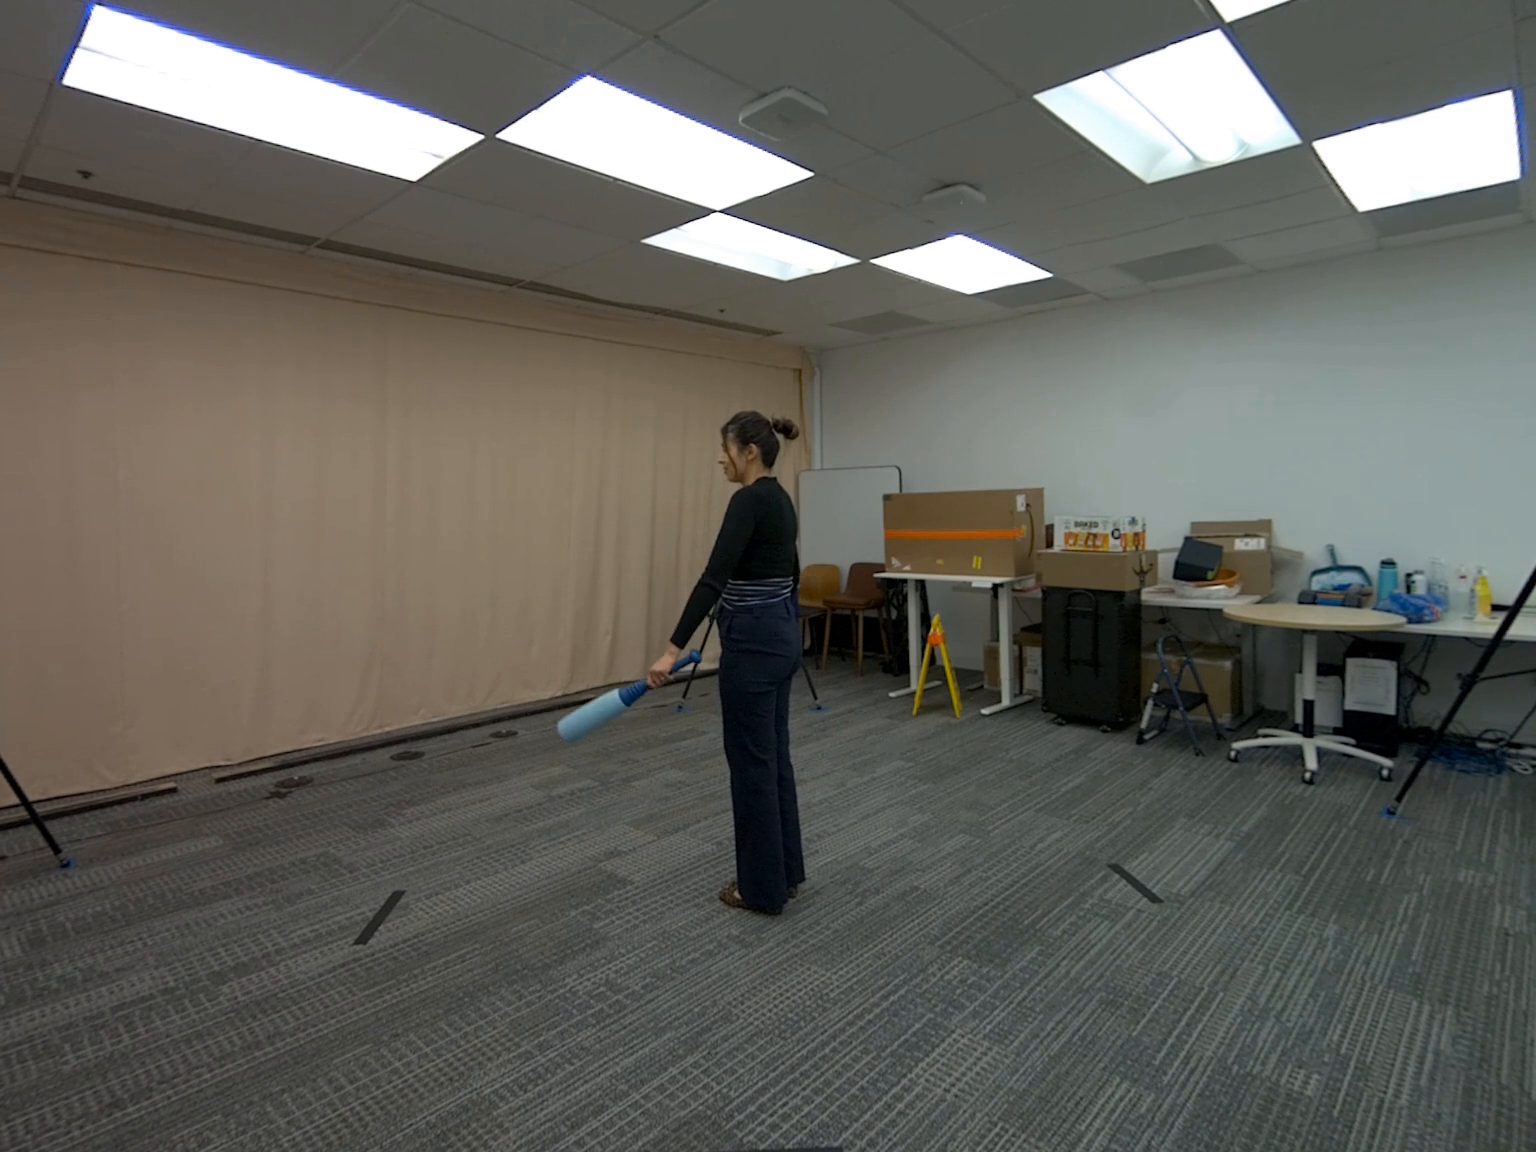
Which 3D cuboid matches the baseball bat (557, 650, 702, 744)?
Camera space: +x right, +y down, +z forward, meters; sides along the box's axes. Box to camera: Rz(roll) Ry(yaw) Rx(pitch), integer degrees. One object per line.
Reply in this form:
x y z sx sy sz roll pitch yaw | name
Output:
-0.424 0.378 2.704 0.547 0.089 0.088 -30 -3 13 | baseball bat
